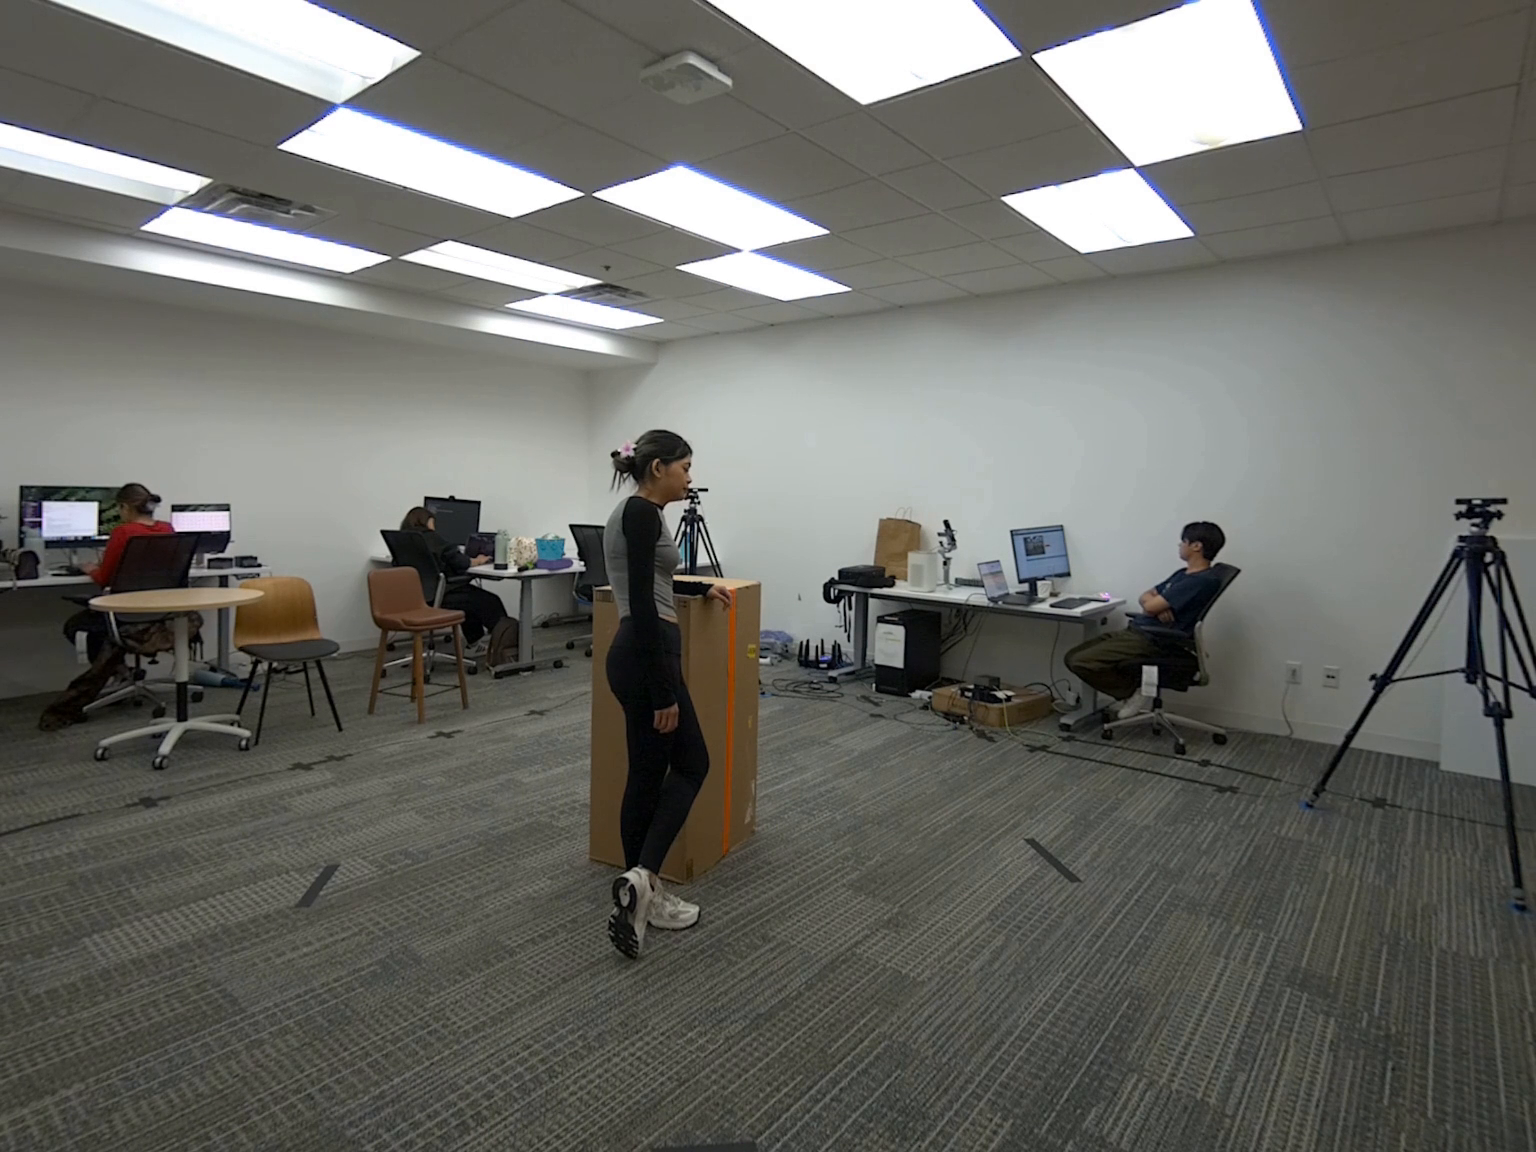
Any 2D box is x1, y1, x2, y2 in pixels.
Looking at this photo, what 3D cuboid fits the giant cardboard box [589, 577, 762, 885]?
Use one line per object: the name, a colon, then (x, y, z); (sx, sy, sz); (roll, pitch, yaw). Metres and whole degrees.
giant cardboard box: (-0.356, 0.539, 3.305); (0.438, 1.022, 0.564); (3, 4, 27)
